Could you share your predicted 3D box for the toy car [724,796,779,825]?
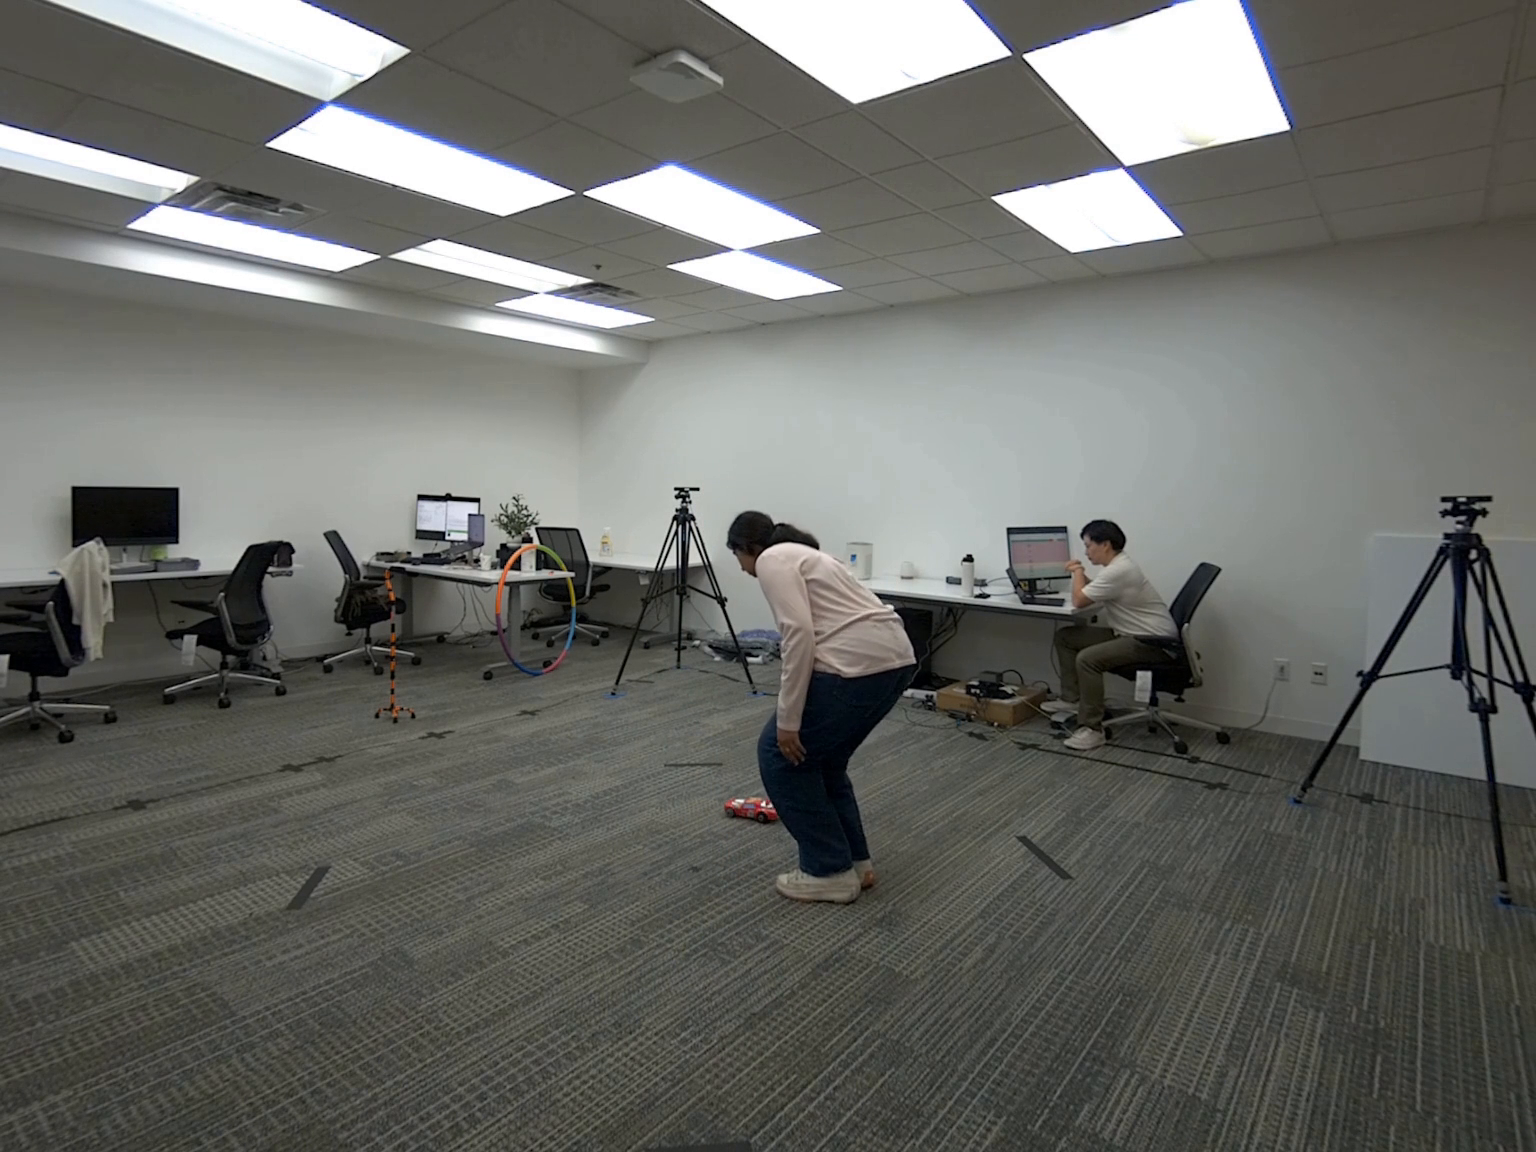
[{"bbox_3d":[-0.063,0.989,3.615,0.260,0.083,0.127,-8,0,23],"label":"toy car"}]
